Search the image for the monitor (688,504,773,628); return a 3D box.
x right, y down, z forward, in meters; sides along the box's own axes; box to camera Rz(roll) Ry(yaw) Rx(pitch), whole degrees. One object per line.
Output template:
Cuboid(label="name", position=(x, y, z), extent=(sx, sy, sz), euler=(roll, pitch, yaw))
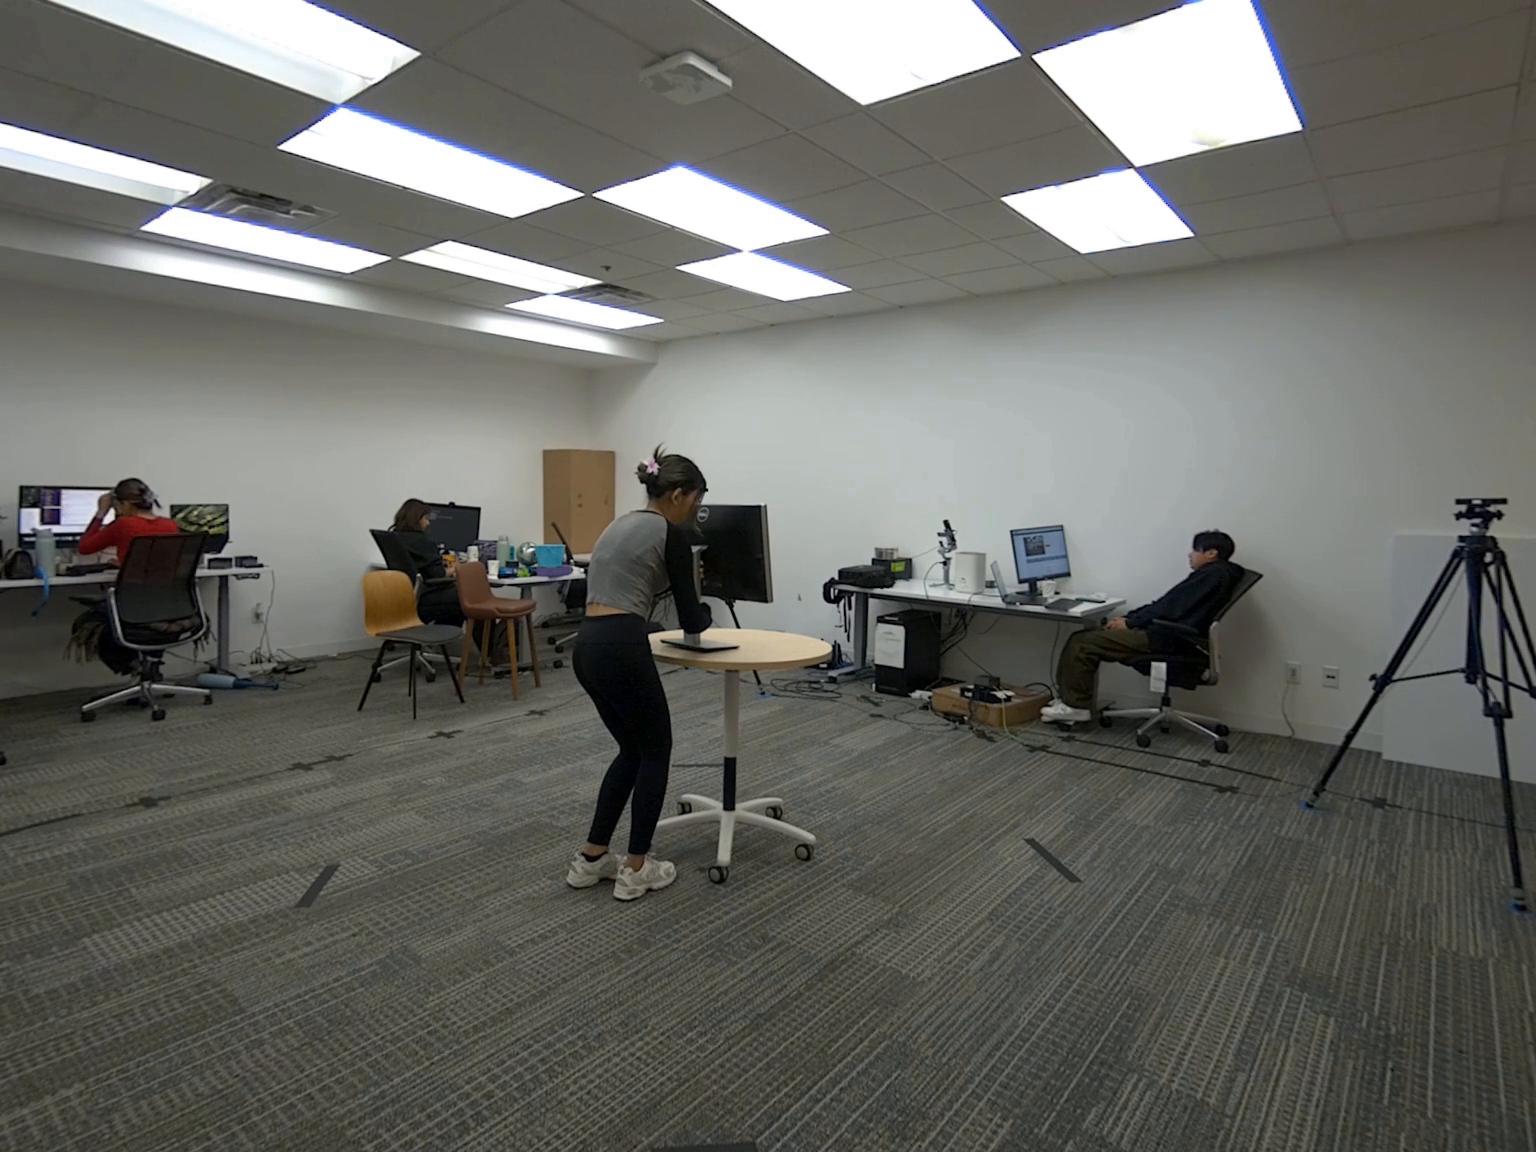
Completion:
Cuboid(label="monitor", position=(-0.251, -0.006, 3.217), extent=(0.557, 0.523, 0.181), euler=(4, -1, 40))
